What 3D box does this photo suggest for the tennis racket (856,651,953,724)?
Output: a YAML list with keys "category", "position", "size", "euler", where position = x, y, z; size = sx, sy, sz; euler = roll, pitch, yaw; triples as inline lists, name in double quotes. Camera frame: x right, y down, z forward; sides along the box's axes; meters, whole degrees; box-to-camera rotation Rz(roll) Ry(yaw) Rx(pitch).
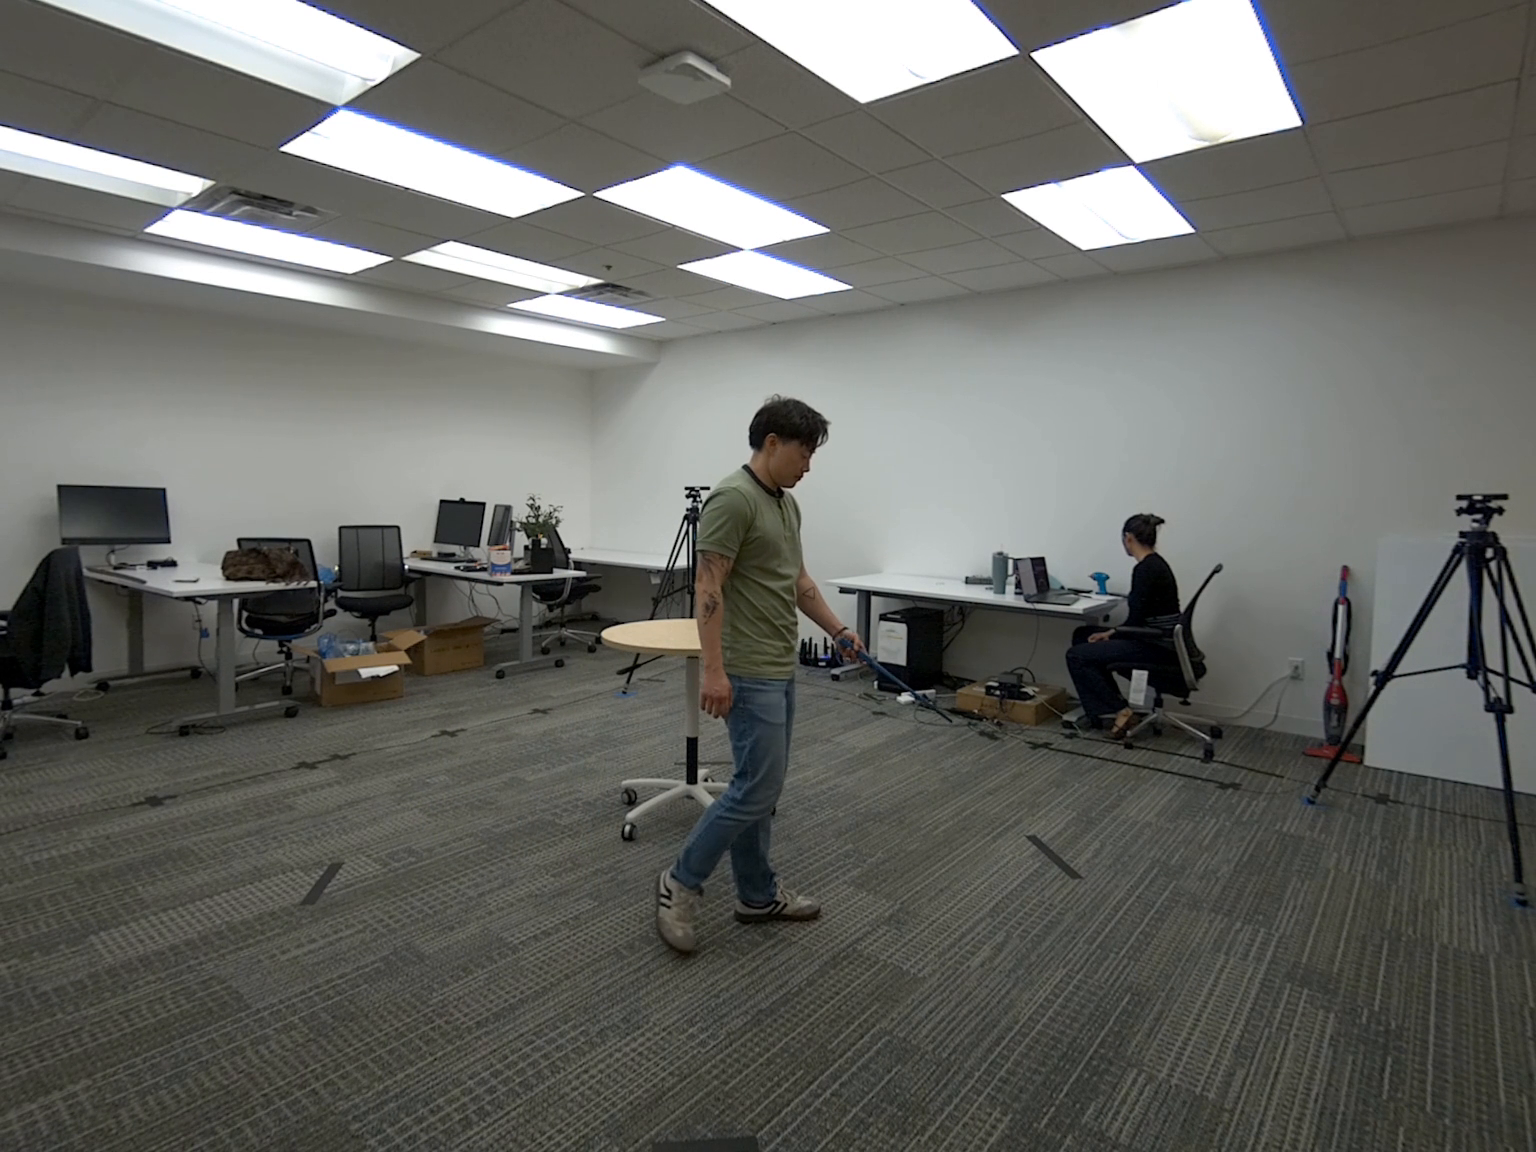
- category: "tennis racket"
  position: [0.398, 0.332, 2.719]
  size: [0.443, 0.032, 0.209]
  euler: [36, -1, 16]
